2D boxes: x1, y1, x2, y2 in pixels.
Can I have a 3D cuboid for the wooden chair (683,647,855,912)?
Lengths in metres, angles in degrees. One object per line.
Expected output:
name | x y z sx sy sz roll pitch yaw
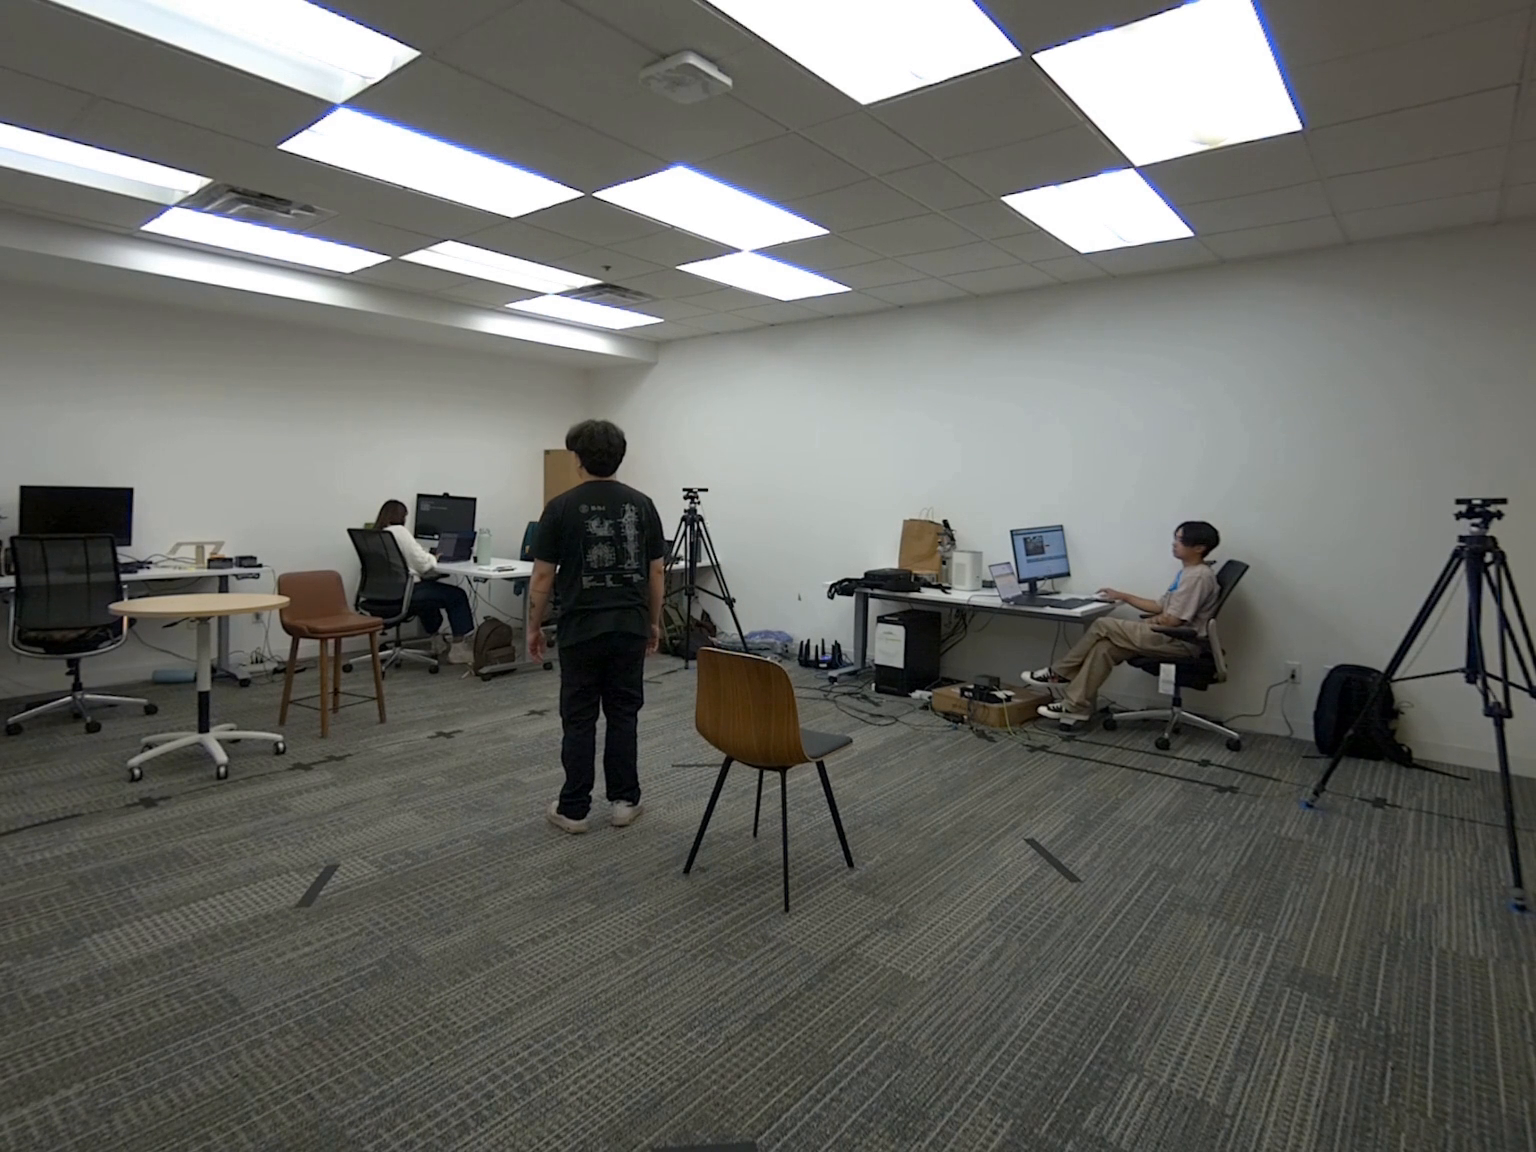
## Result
wooden chair | 0.009 0.647 3.089 0.493 0.872 0.510 3 8 36
